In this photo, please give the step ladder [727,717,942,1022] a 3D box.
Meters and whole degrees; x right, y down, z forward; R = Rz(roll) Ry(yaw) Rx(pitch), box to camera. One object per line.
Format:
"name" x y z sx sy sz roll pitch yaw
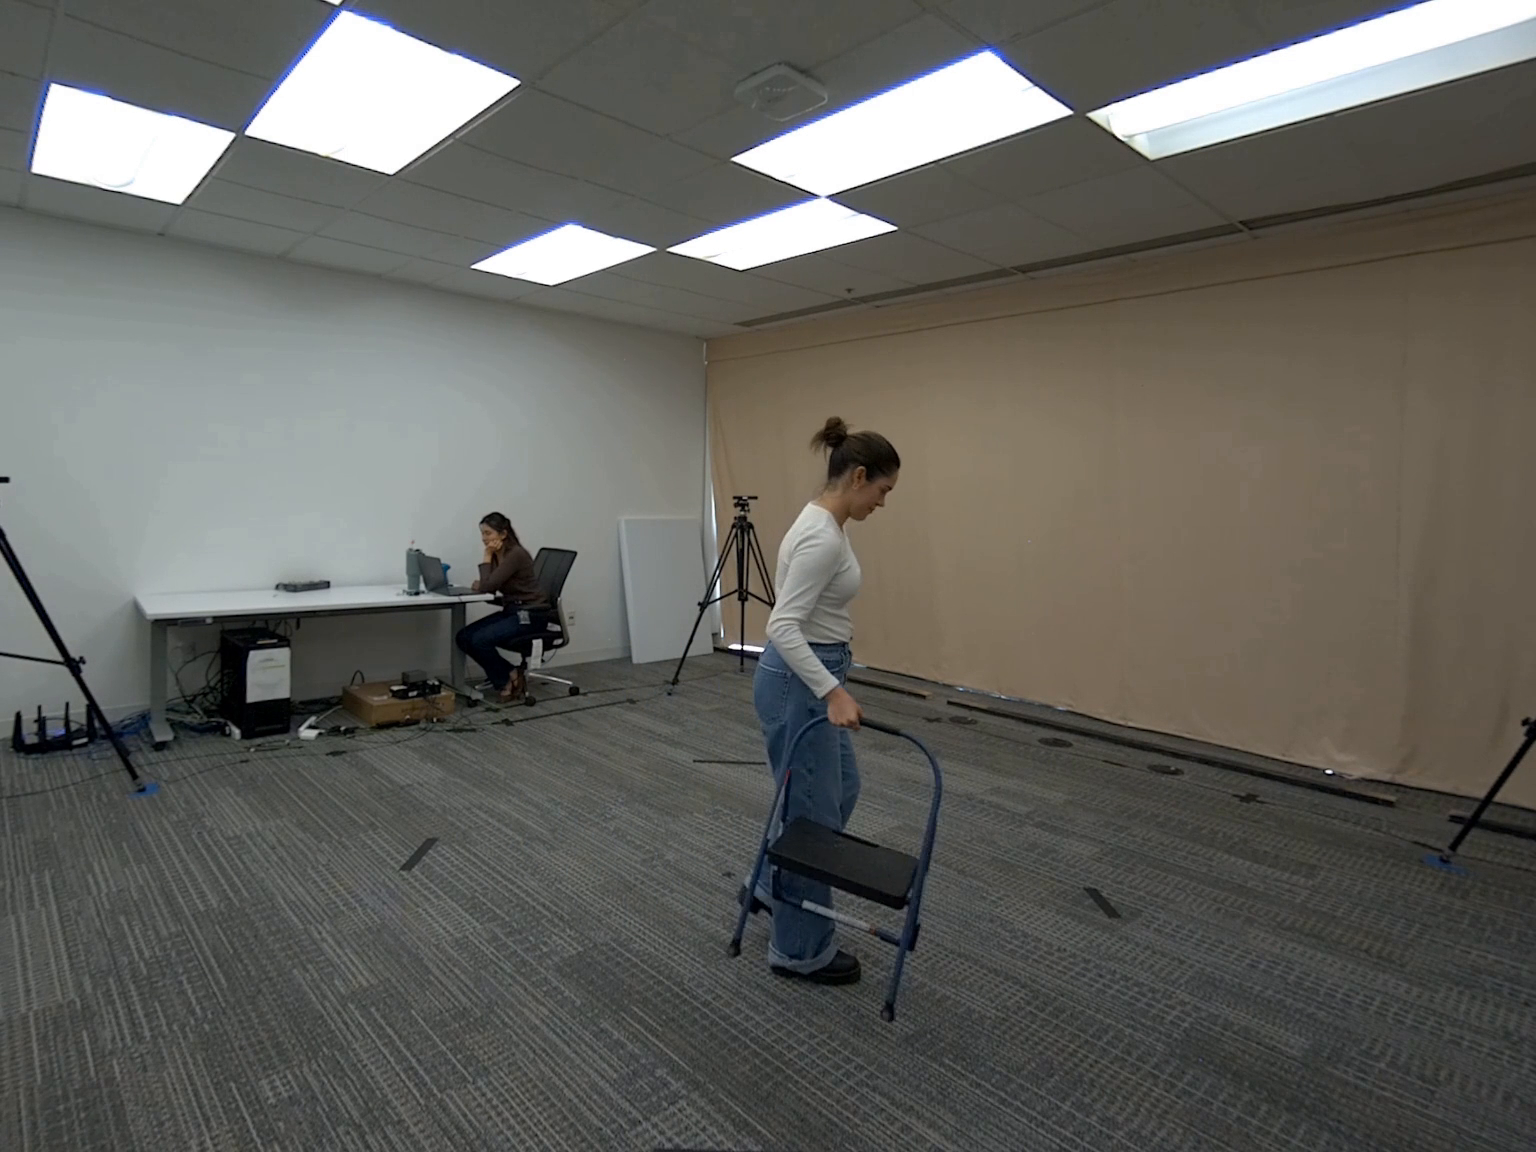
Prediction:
"step ladder" 0.205 0.694 2.147 0.438 0.603 0.344 14 8 19
